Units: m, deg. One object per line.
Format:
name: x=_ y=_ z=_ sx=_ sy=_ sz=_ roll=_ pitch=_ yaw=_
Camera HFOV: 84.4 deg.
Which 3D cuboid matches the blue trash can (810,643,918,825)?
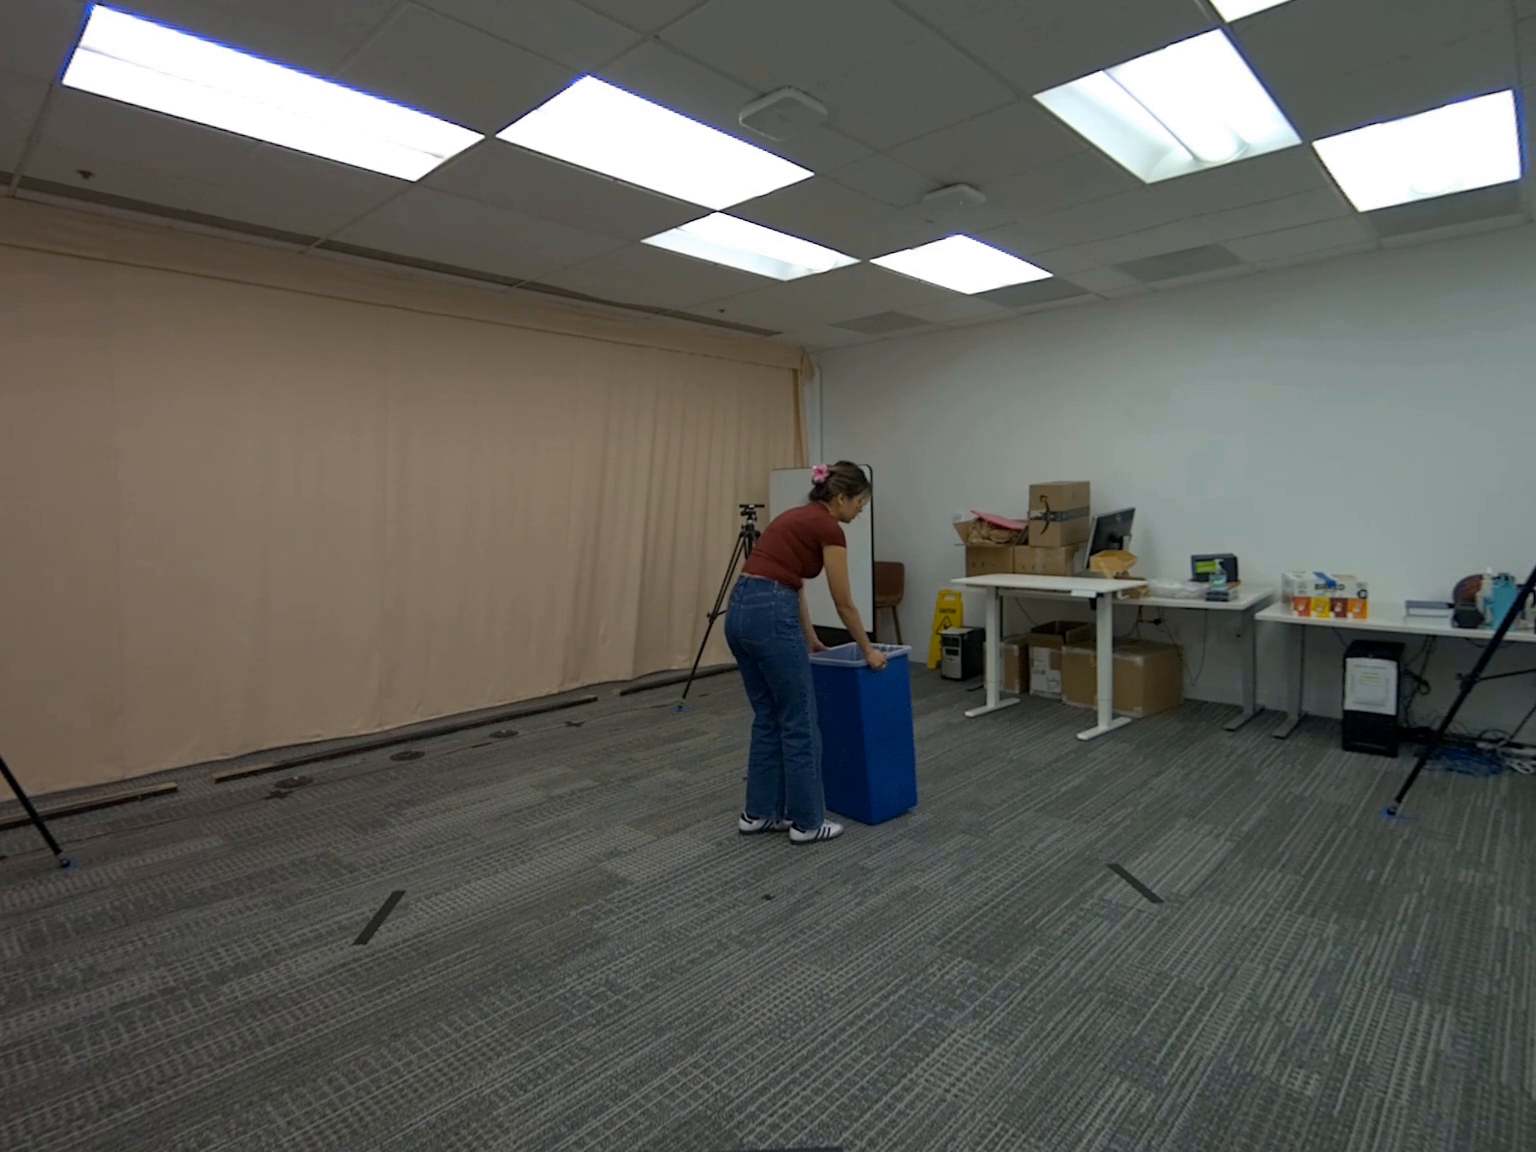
blue trash can: x=0.422 y=0.694 z=3.792 sx=0.363 sy=0.712 sz=0.389 roll=-7 pitch=3 yaw=-38
